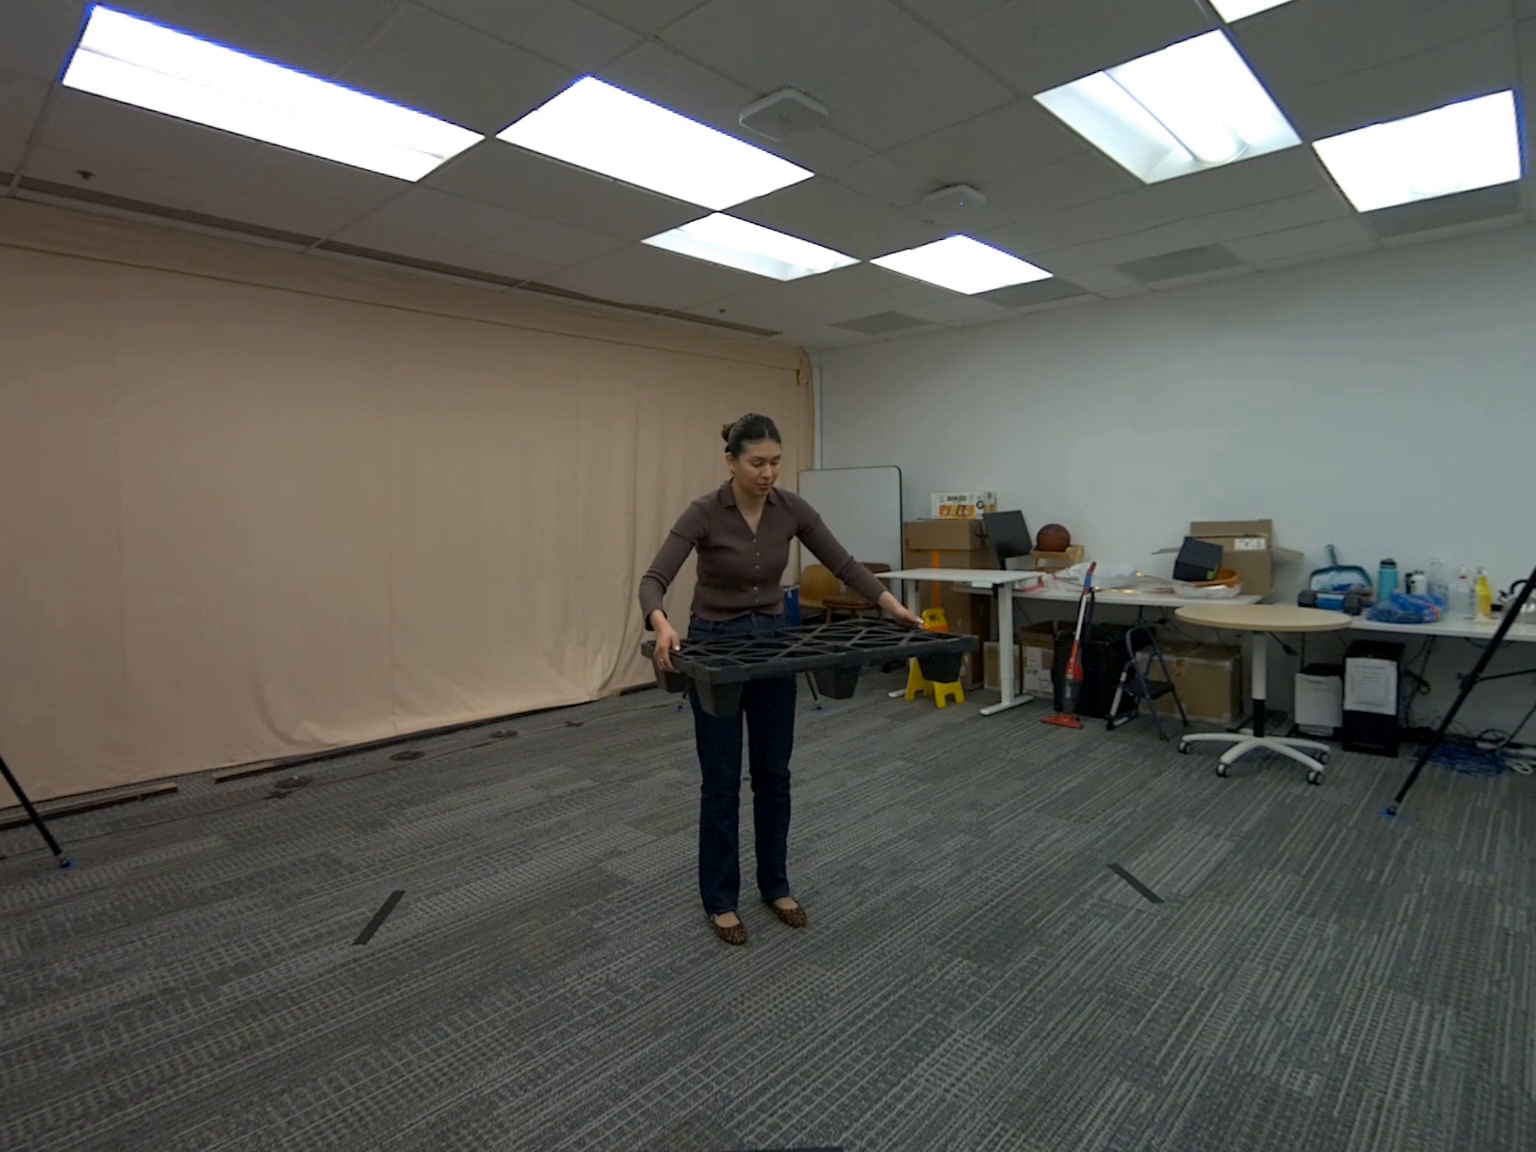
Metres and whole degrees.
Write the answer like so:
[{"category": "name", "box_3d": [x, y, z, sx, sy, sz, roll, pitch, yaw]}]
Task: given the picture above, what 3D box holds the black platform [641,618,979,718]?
[{"category": "black platform", "box_3d": [0.100, 0.255, 2.423, 0.788, 0.143, 0.619, -4, 3, -23]}]
